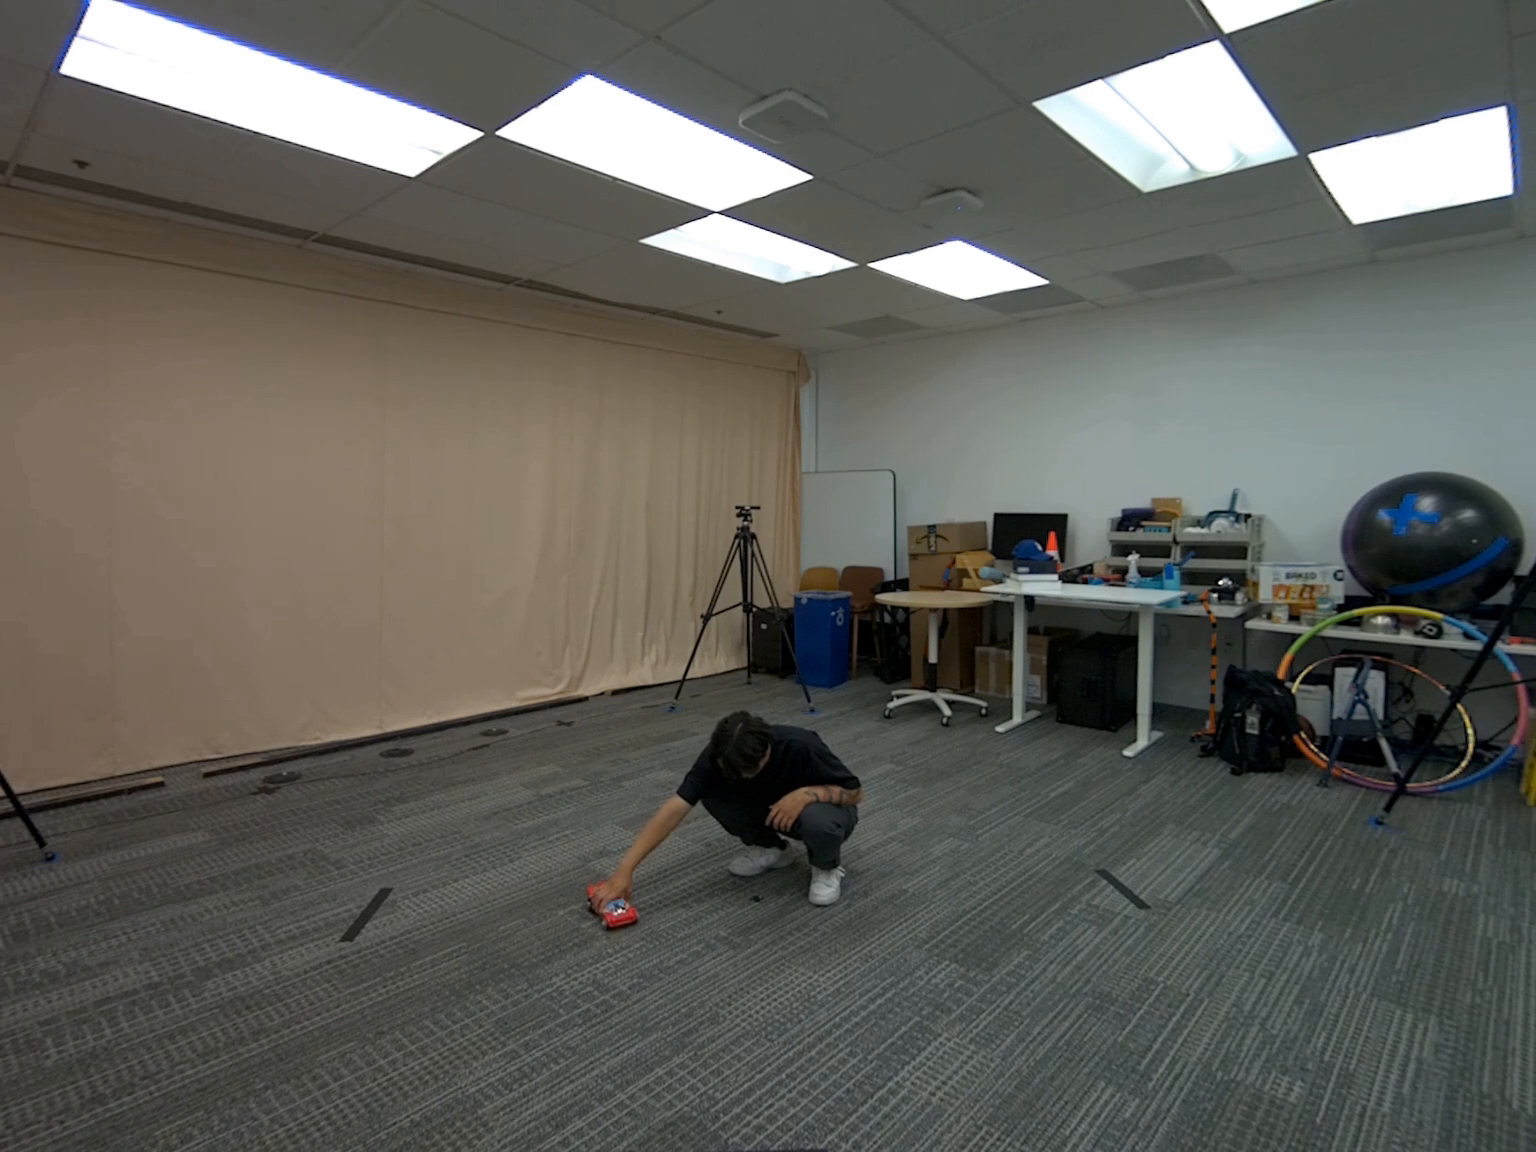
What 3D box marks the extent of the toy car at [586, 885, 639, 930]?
[{"bbox_3d":[-0.538,1.131,2.886,0.127,0.082,0.263,-3,15,-29],"label":"toy car"}]
